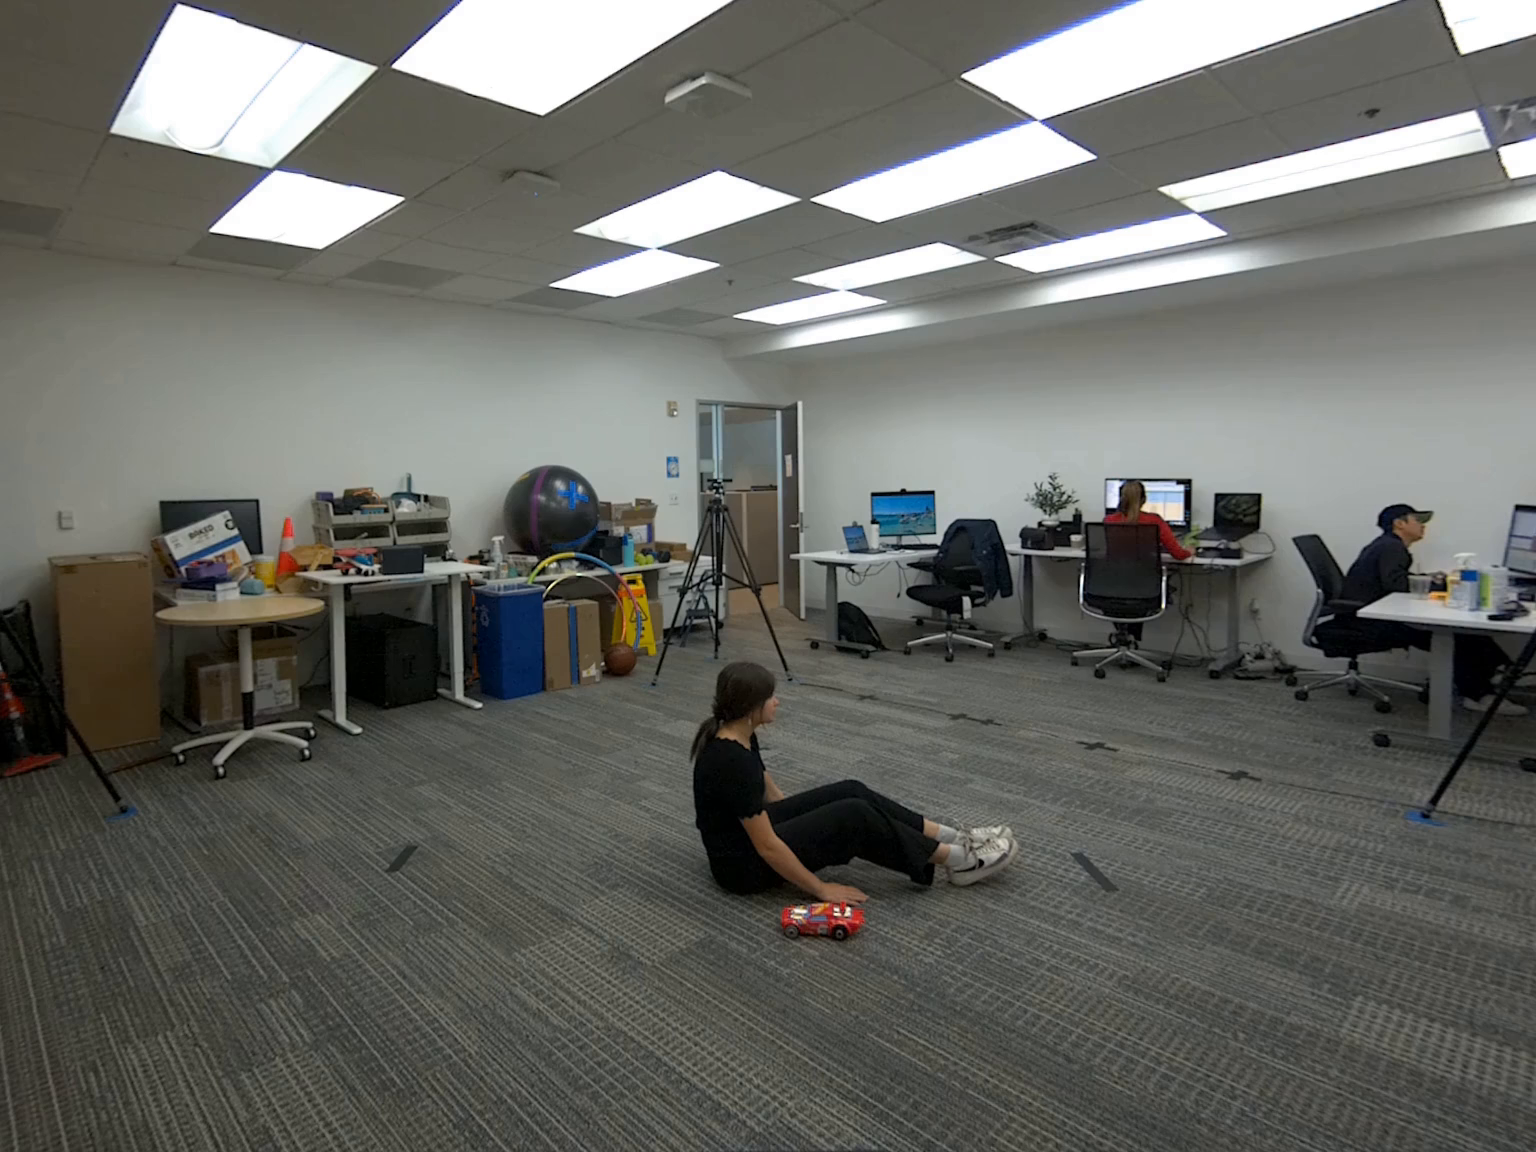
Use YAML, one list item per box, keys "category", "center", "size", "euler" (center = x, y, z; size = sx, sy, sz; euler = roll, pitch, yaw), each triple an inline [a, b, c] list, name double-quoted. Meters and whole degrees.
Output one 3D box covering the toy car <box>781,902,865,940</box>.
- category: "toy car"
  center: [0.180, 1.068, 2.634]
  size: [0.256, 0.083, 0.130]
  euler: [-12, 3, 8]
